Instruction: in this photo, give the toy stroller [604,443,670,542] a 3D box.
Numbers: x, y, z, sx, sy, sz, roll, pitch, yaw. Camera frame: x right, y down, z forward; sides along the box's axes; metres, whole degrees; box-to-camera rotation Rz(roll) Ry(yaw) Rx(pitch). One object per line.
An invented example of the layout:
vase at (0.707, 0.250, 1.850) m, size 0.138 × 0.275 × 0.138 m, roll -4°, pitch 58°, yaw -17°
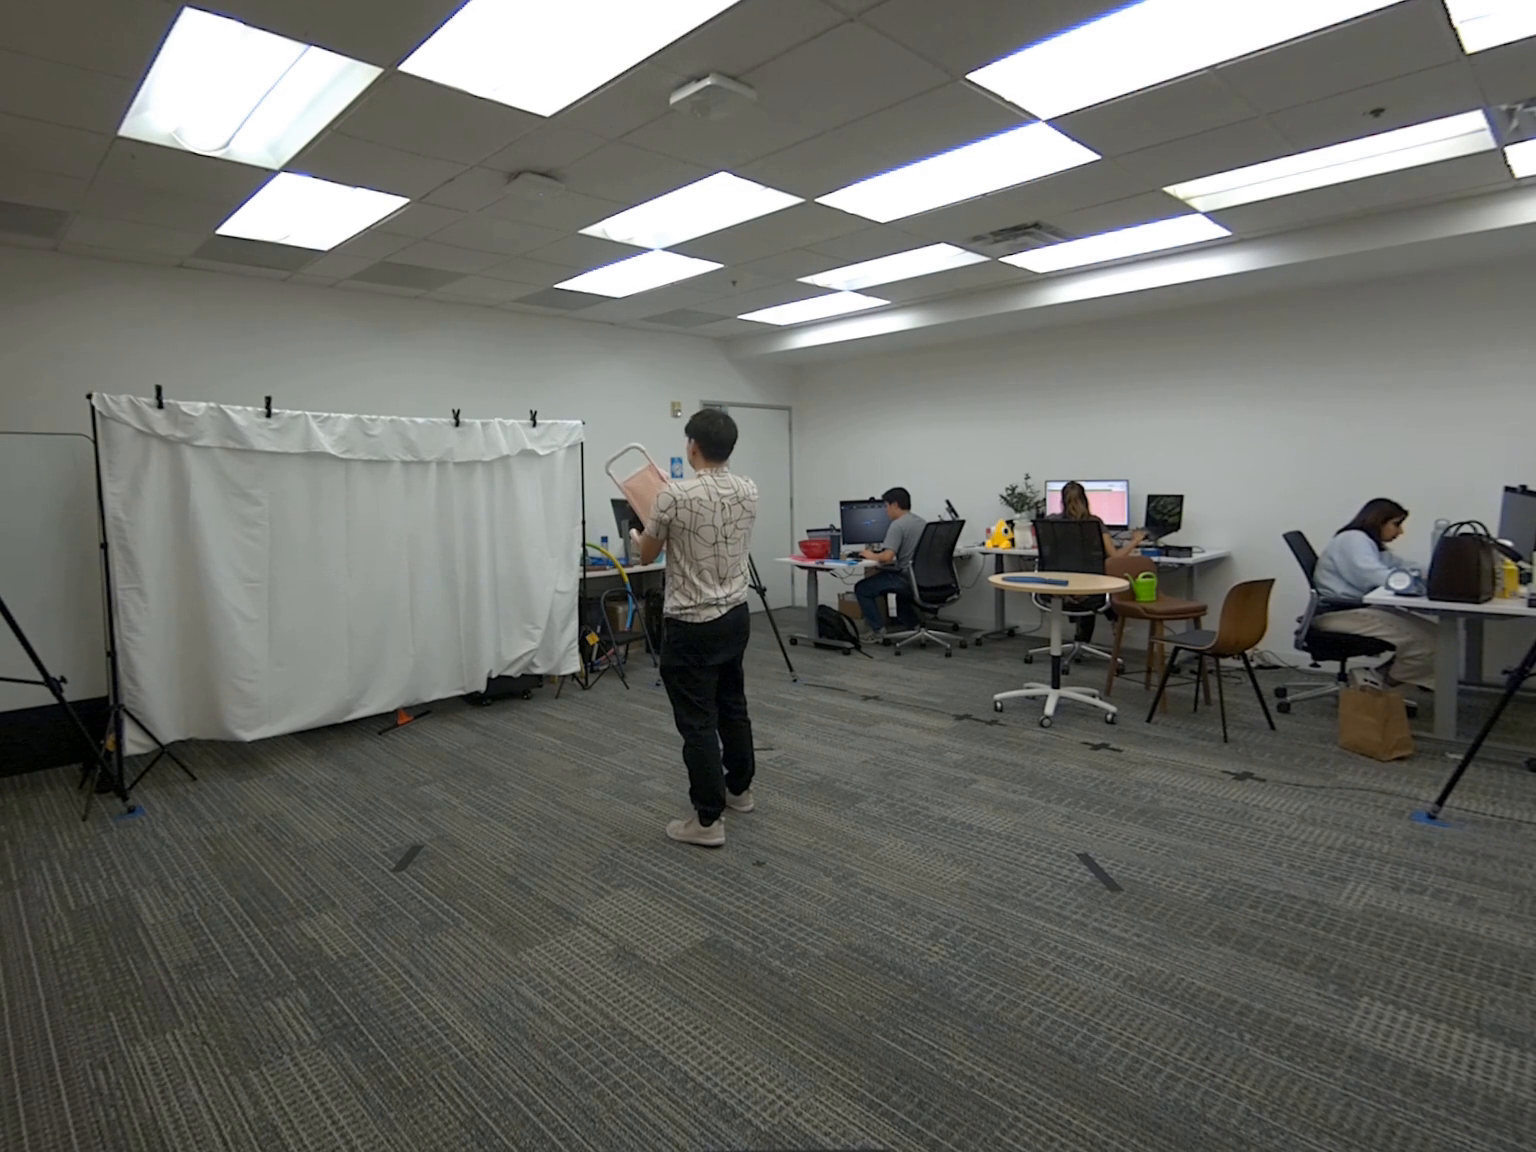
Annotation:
toy stroller at (-0.499, -0.315, 3.890) m, size 0.282 × 0.551 × 0.330 m, roll -36°, pitch -25°, yaw 10°
